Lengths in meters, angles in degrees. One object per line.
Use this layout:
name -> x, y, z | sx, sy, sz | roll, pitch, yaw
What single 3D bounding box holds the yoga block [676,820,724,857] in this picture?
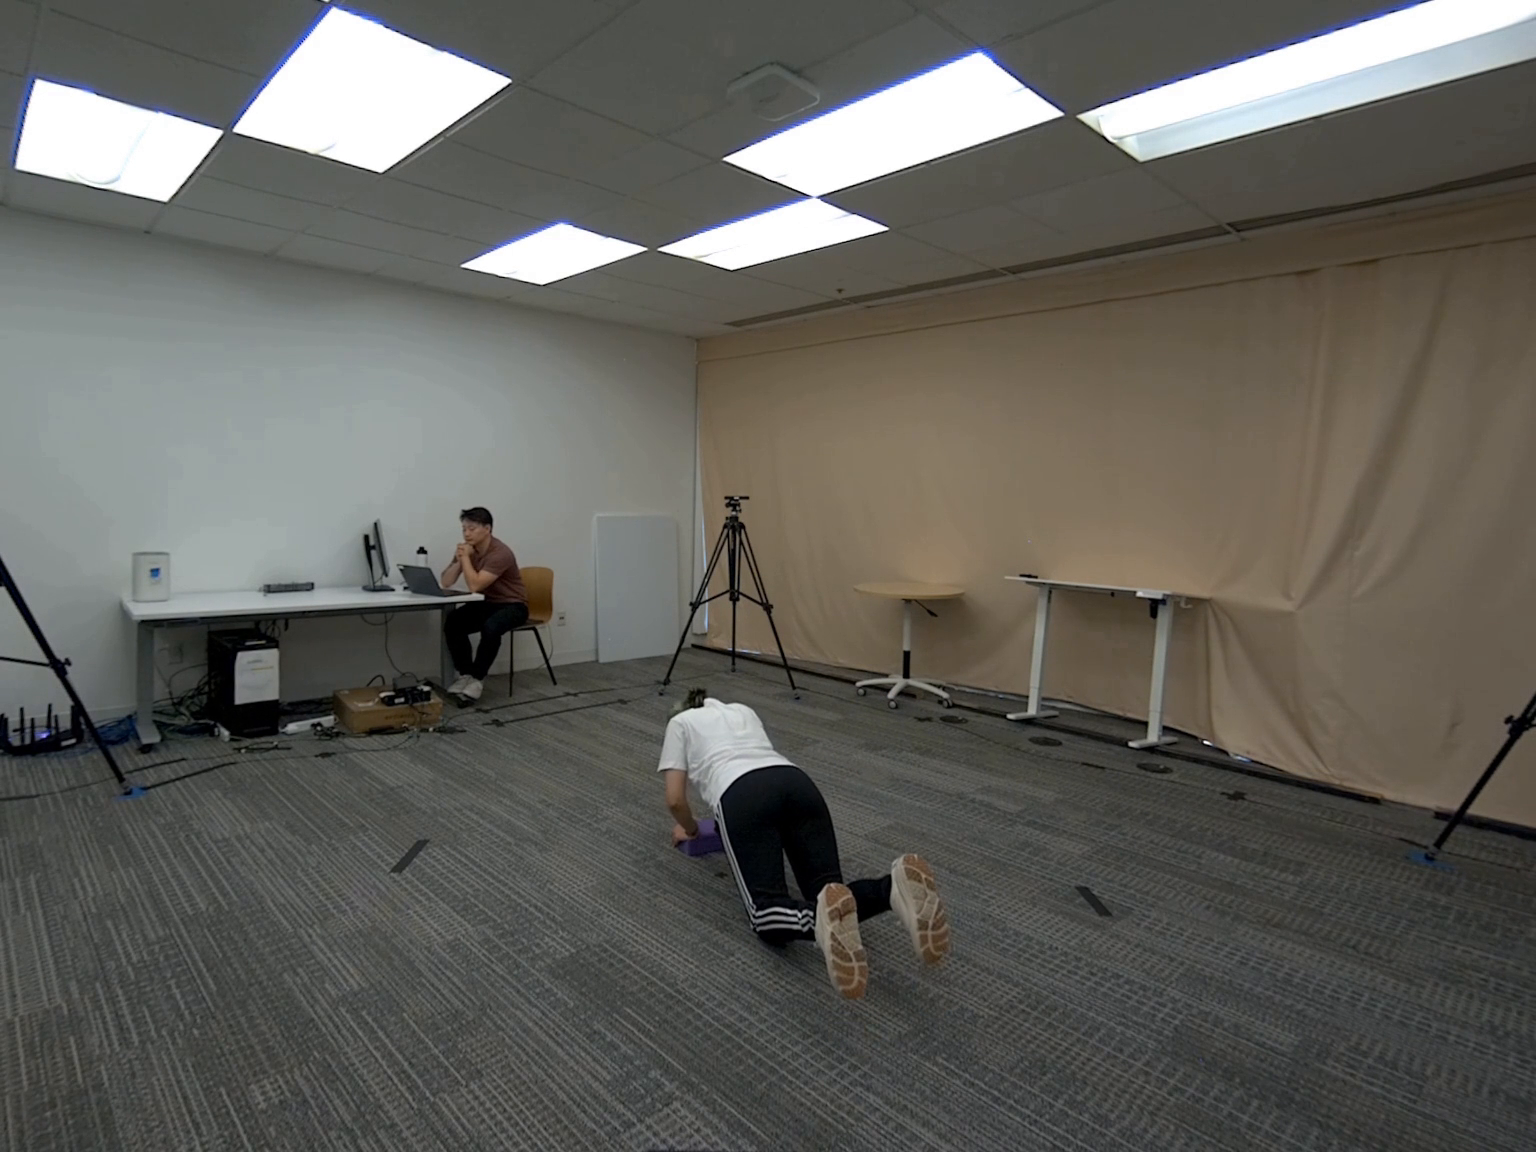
yoga block -> -0.251, 1.042, 3.365 | 0.225, 0.076, 0.152 | -3, 4, -30
